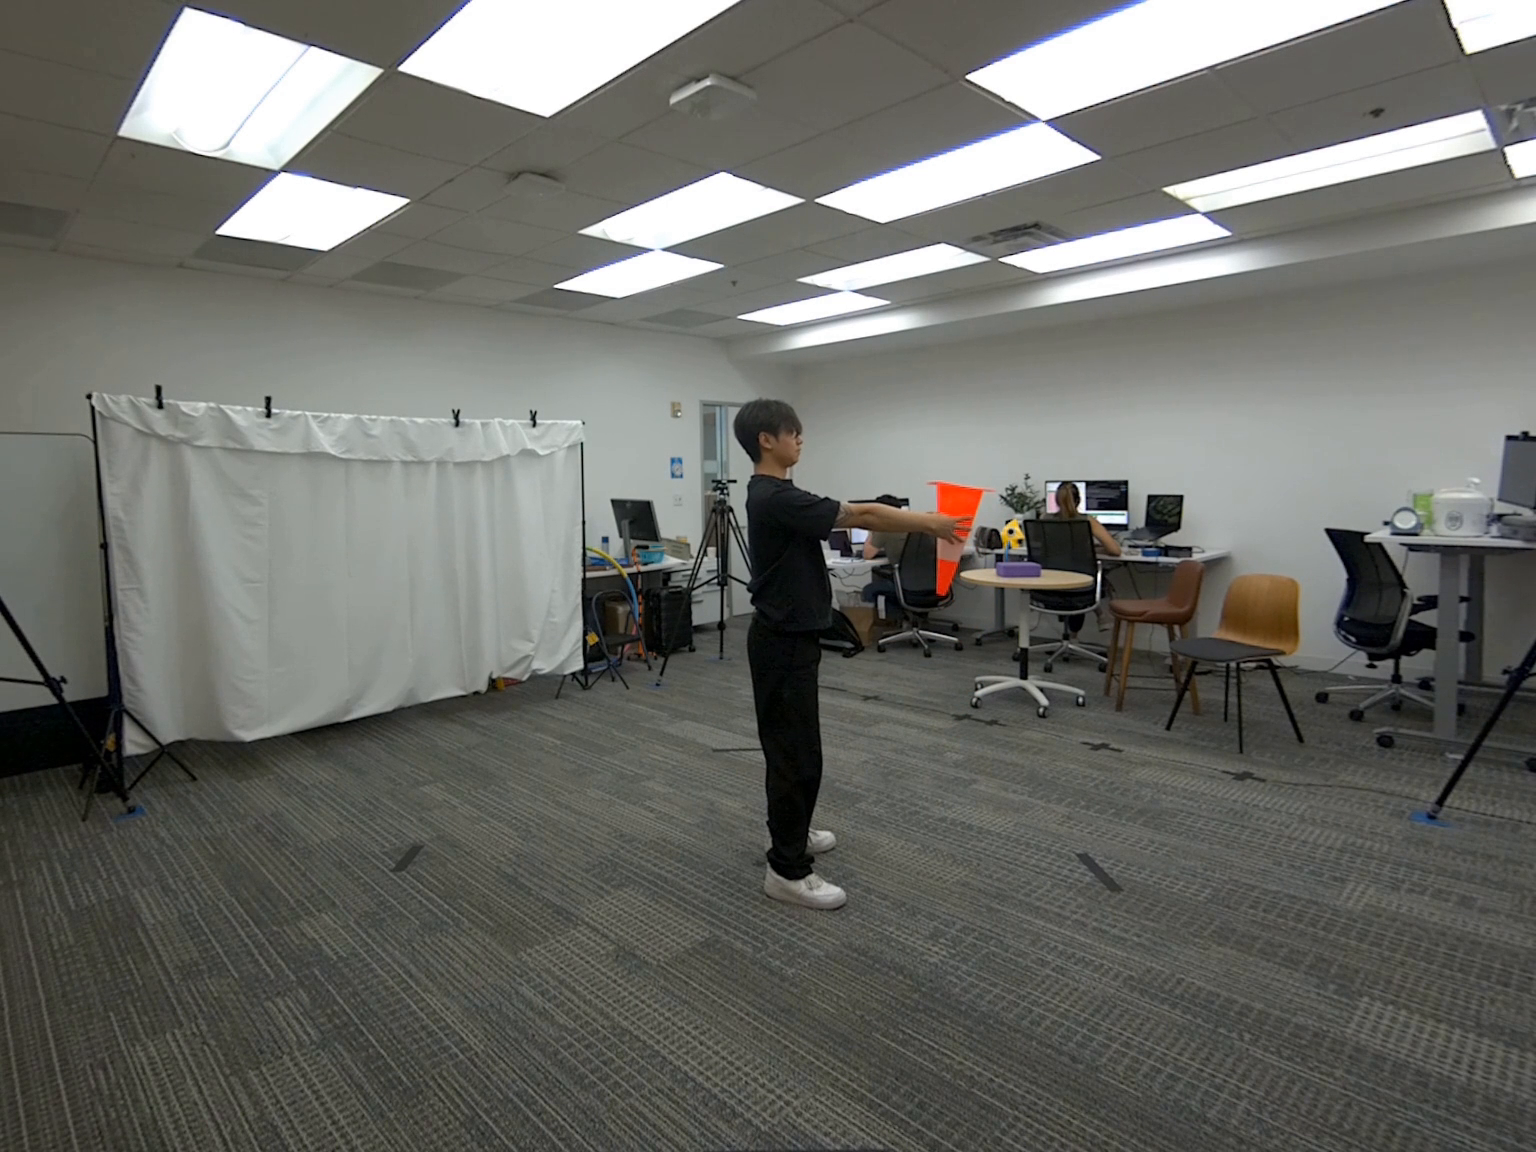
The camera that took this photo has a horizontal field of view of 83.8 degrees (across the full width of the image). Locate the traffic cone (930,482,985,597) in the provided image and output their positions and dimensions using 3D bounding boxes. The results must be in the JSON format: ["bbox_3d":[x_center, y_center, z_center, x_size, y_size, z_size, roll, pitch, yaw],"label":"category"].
[{"bbox_3d":[0.638,-0.116,2.940,0.203,0.383,0.205,8,2,-1],"label":"traffic cone"}]
